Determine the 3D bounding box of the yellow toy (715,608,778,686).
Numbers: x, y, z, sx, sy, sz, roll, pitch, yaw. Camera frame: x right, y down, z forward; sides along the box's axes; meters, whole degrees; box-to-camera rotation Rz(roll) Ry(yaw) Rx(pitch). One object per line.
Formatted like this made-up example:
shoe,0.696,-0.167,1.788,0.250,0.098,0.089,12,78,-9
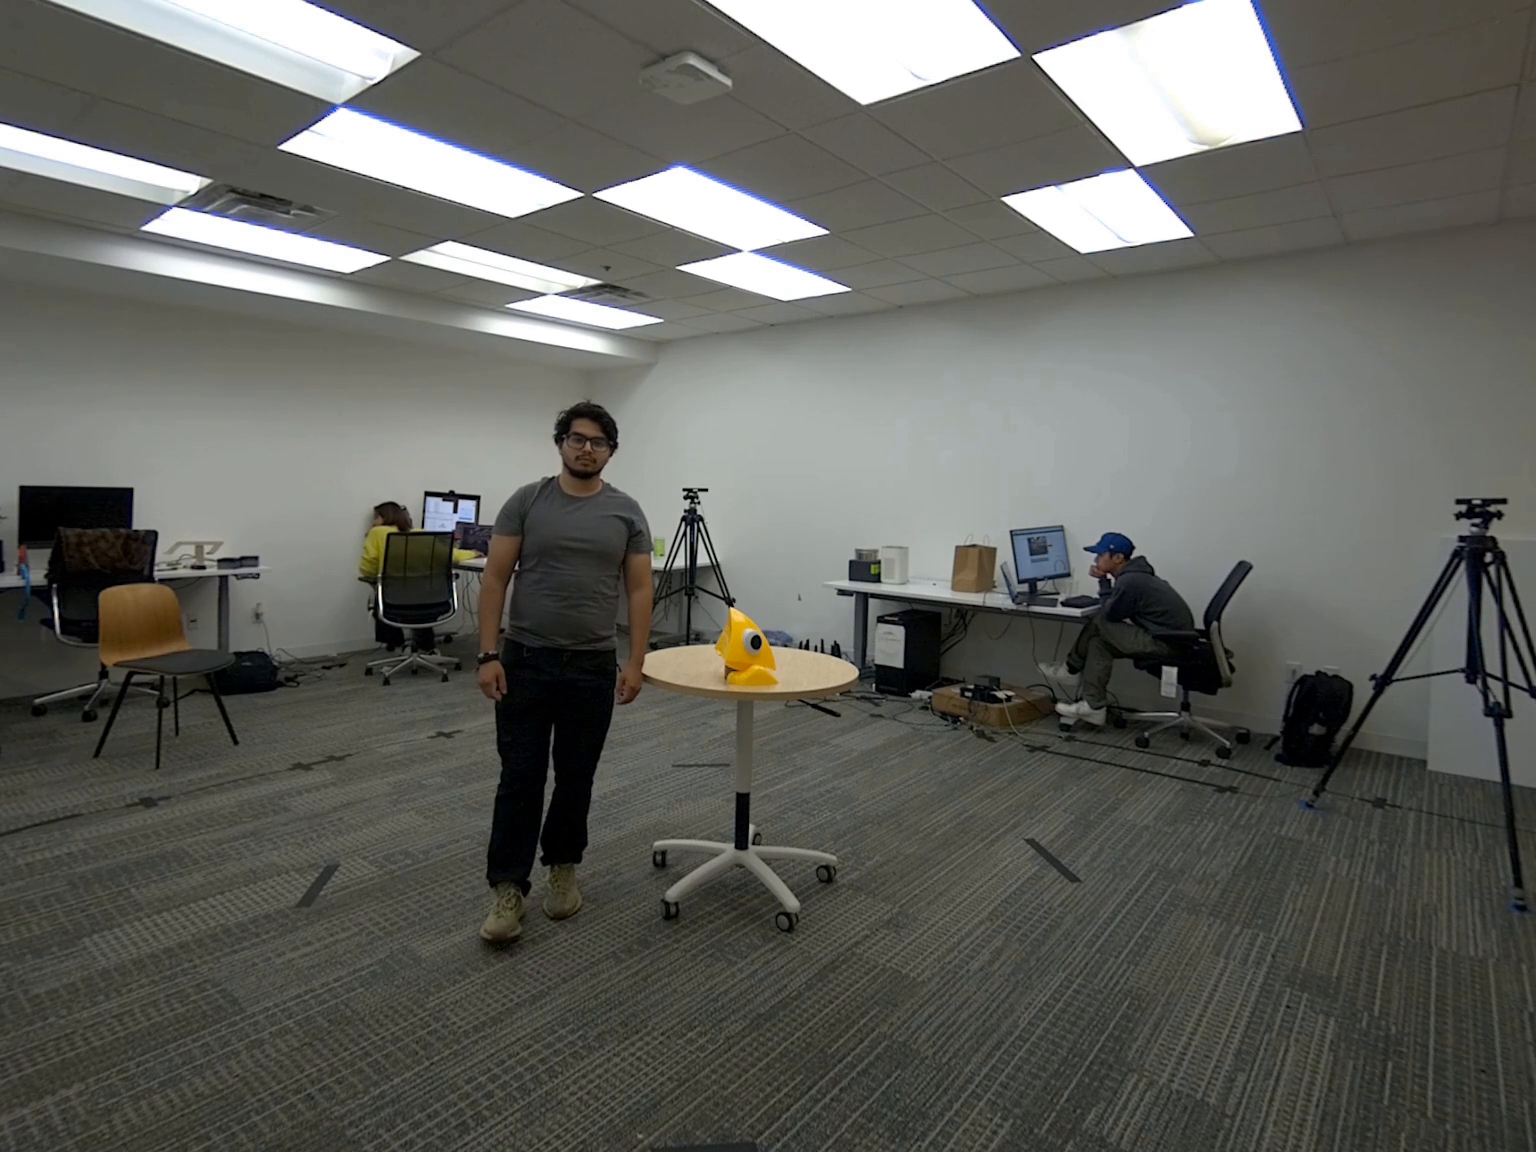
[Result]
yellow toy,-0.076,0.216,2.730,0.191,0.230,0.208,1,5,-12
